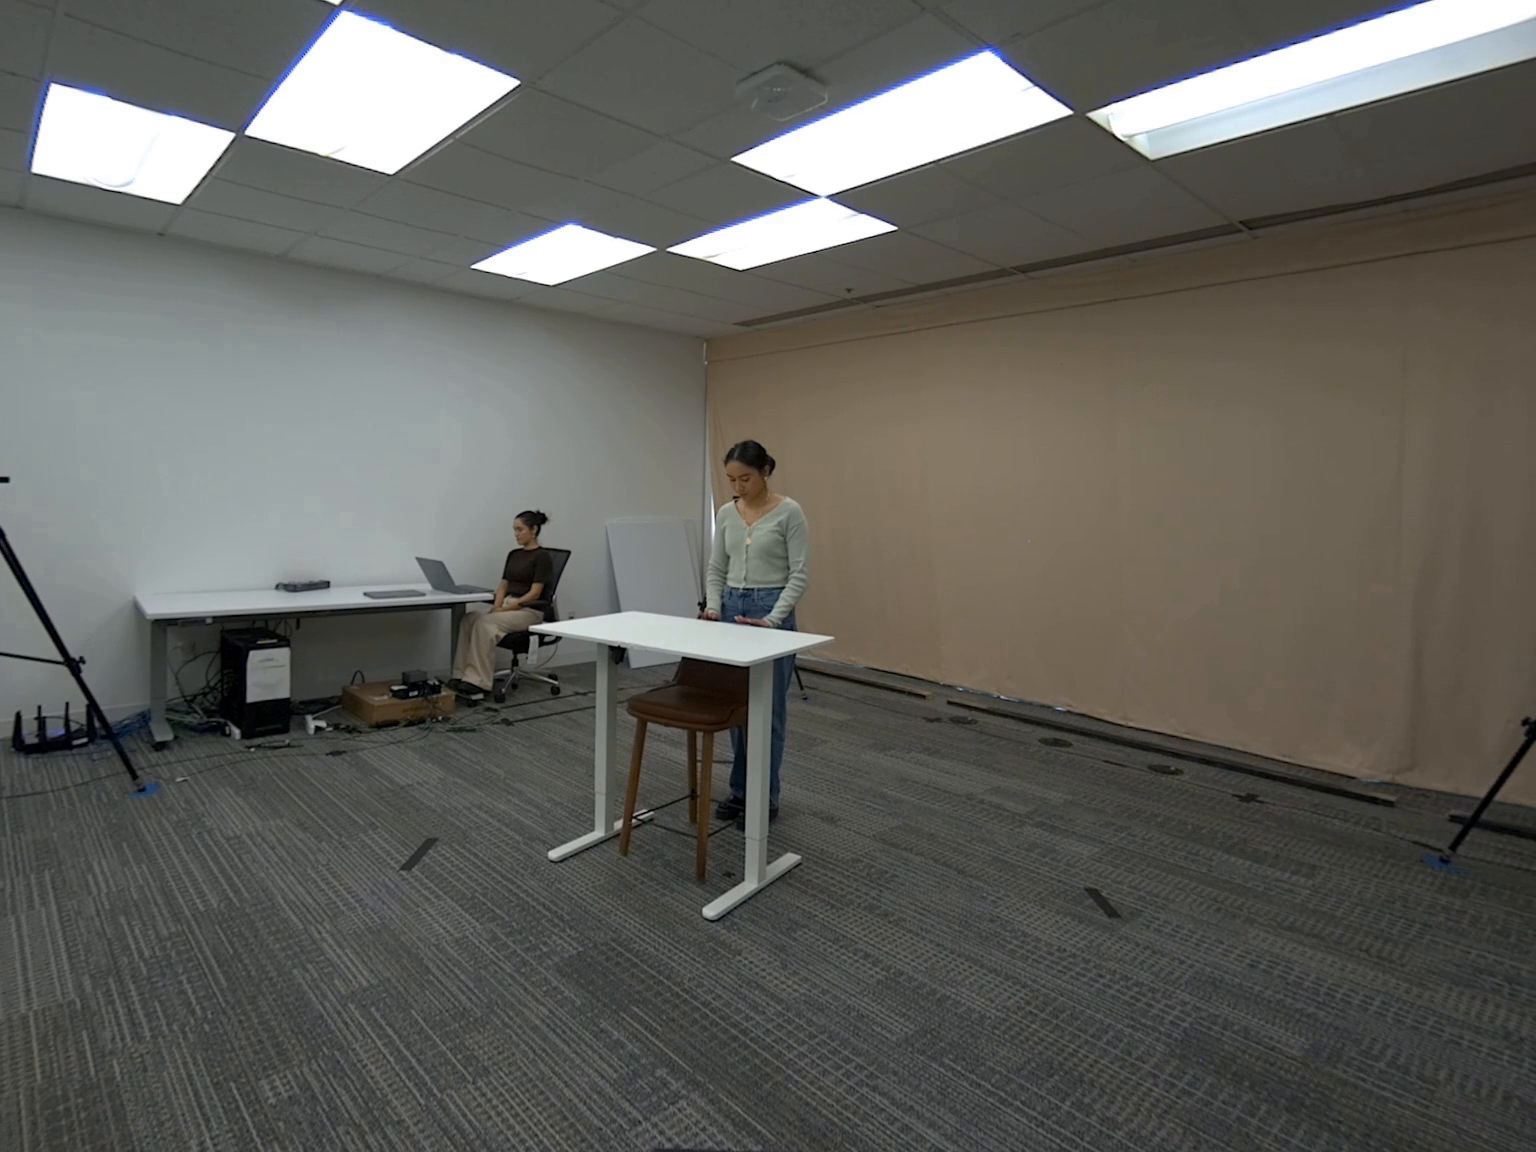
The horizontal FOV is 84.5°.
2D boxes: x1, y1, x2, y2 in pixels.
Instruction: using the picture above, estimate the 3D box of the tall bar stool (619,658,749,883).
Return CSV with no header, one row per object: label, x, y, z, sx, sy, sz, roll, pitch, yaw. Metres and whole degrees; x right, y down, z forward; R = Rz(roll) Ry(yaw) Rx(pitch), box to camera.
tall bar stool,-0.280,0.652,3.312,0.467,0.889,0.457,3,1,34
